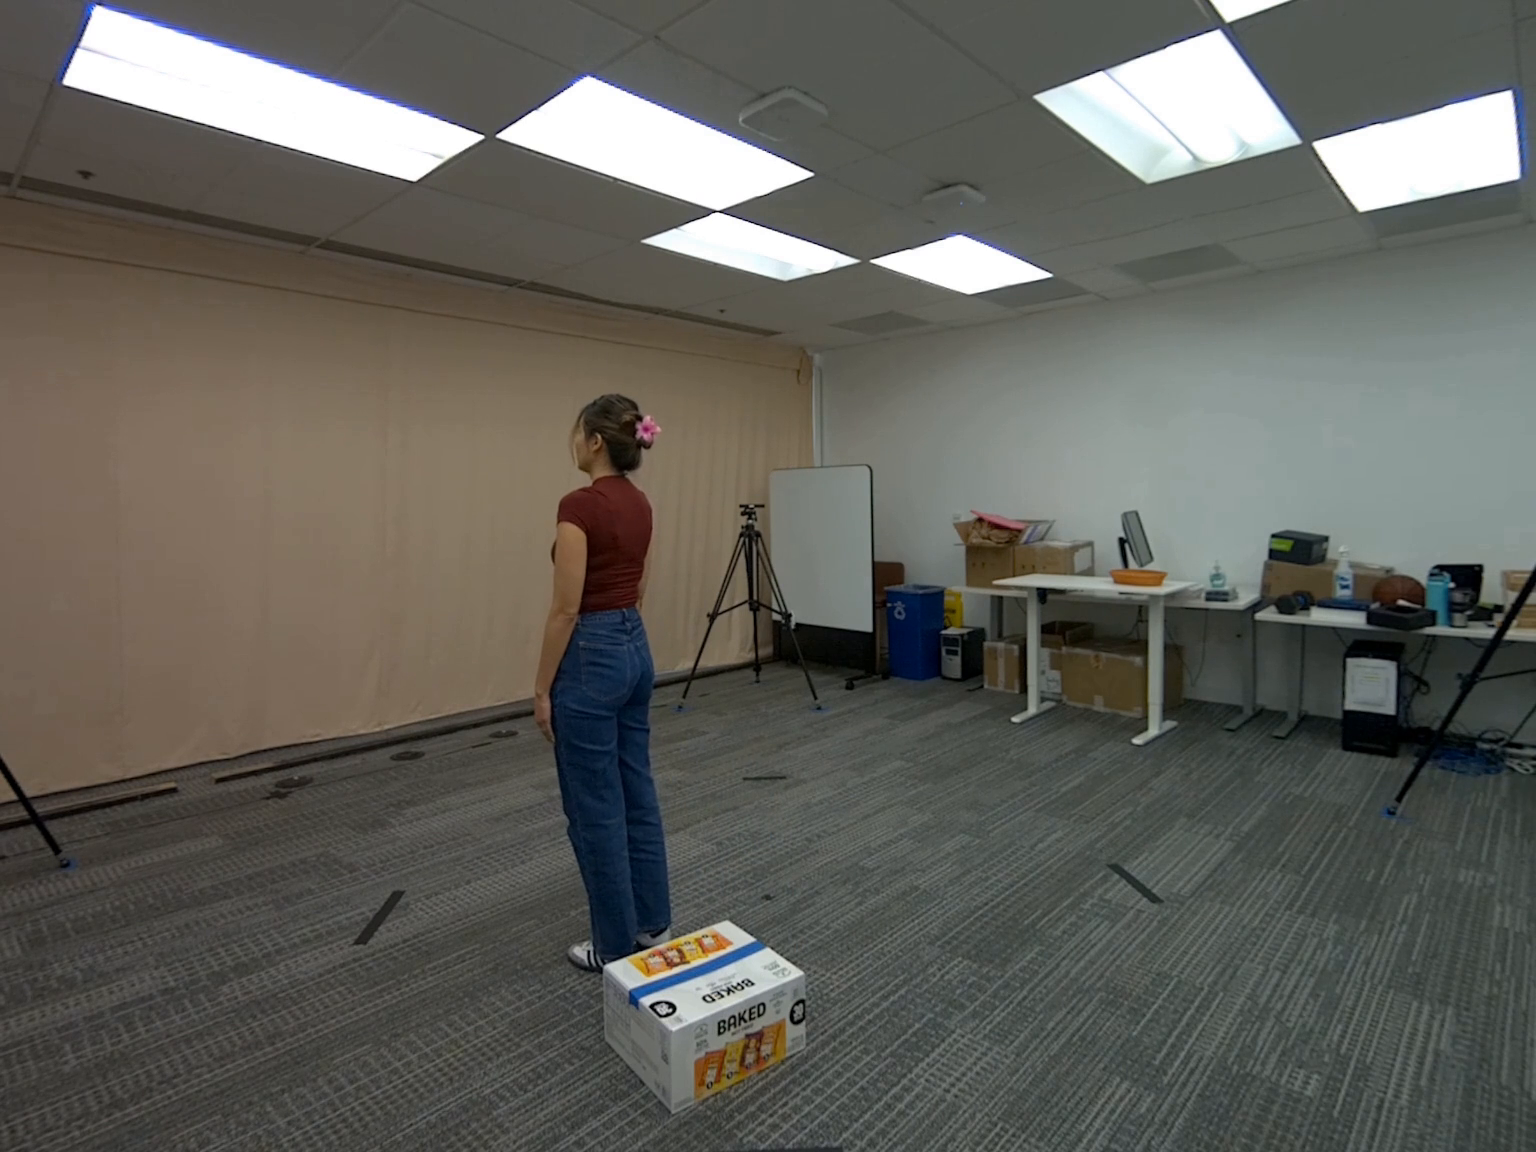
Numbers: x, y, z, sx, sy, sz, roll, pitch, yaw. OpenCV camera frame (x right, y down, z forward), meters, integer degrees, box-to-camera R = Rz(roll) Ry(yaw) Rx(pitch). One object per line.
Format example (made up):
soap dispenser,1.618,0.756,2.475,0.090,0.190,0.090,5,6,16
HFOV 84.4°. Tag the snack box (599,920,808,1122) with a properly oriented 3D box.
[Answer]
snack box,-0.168,1.103,2.157,0.393,0.205,0.351,-5,5,-37
